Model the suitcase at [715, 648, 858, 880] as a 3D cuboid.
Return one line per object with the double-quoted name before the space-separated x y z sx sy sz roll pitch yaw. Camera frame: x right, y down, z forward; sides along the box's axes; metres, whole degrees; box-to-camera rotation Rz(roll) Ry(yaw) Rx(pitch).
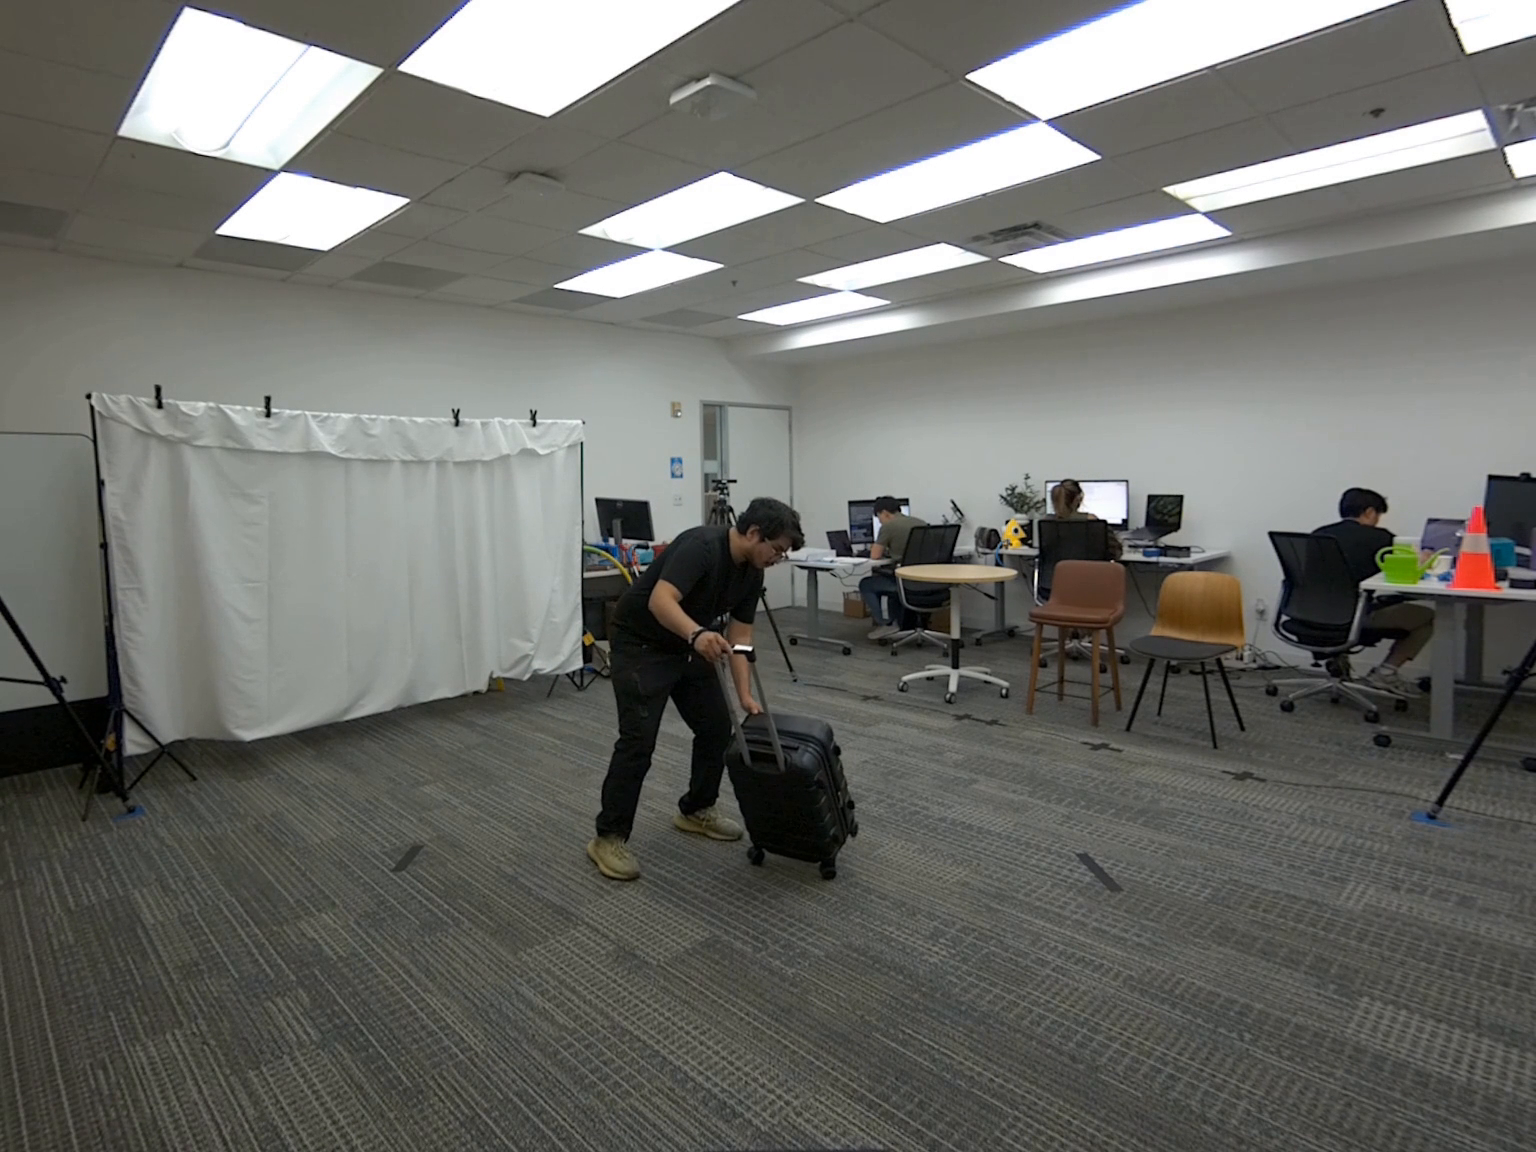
"suitcase" 0.039 0.578 2.924 0.394 0.953 0.257 2 30 30
